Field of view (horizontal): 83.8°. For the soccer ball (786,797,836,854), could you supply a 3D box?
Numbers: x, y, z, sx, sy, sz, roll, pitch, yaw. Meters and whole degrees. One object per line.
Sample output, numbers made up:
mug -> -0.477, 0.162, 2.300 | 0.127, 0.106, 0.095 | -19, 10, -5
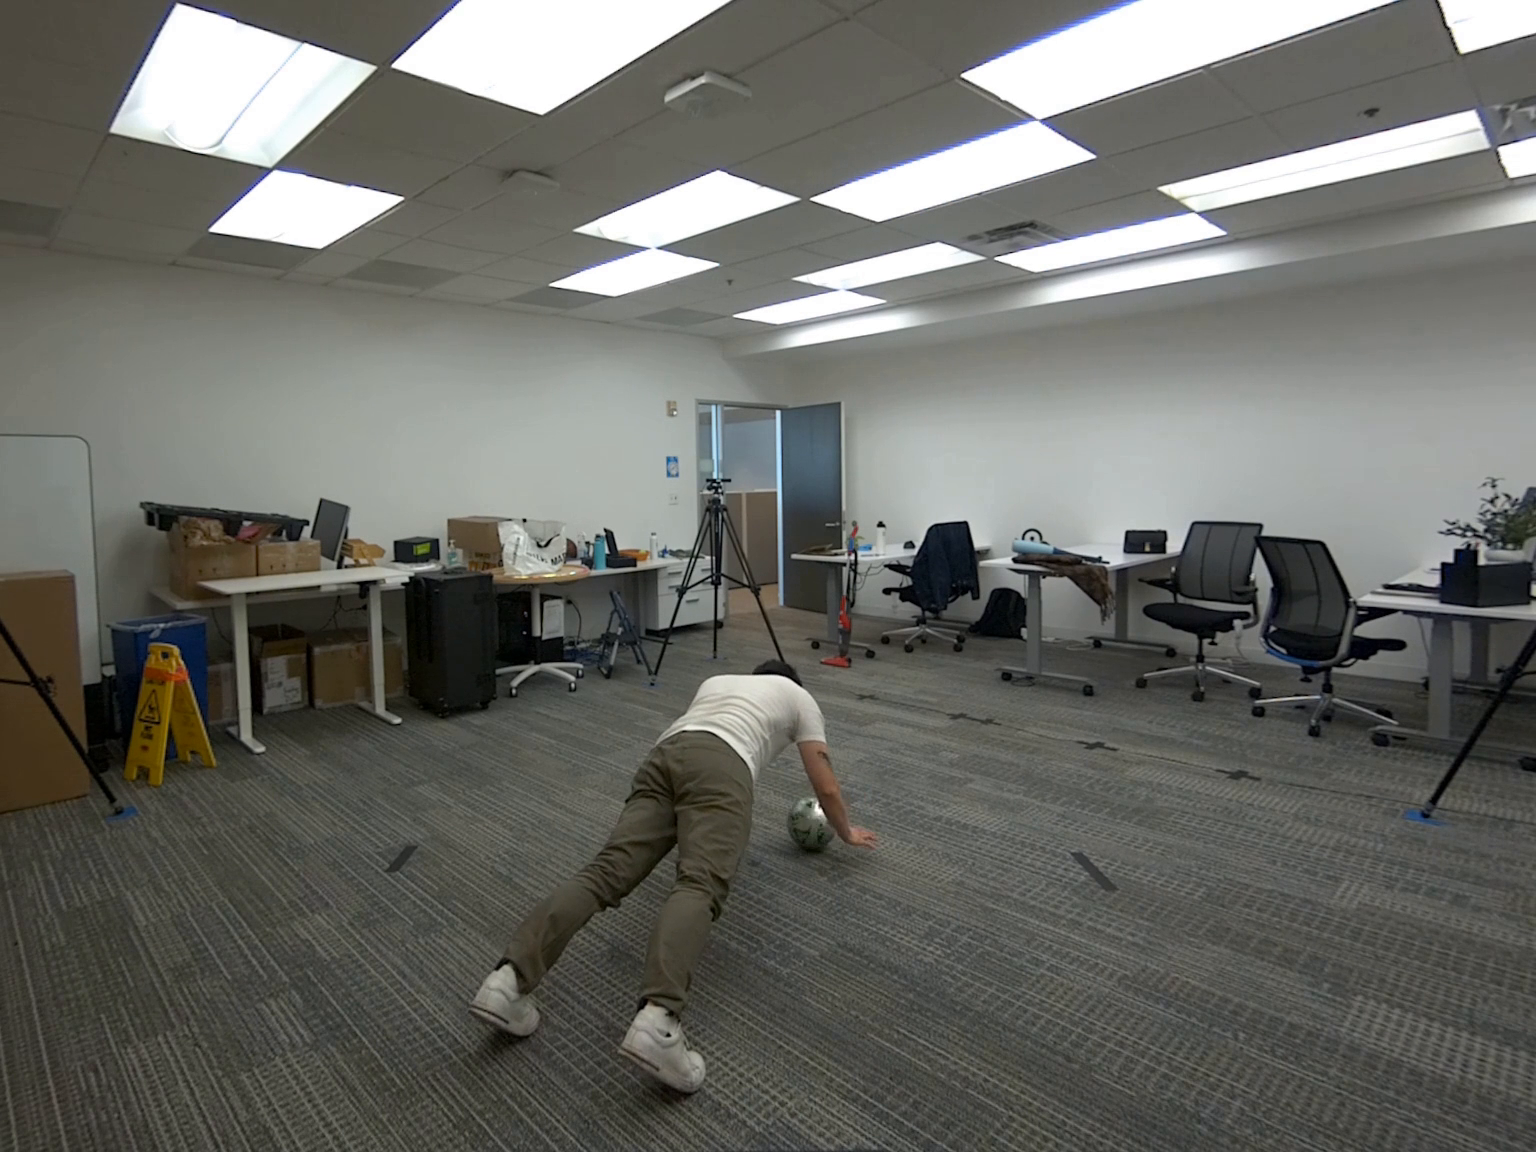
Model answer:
soccer ball -> 0.165, 0.930, 3.225 | 0.187, 0.187, 0.188 | -1, 5, -2
